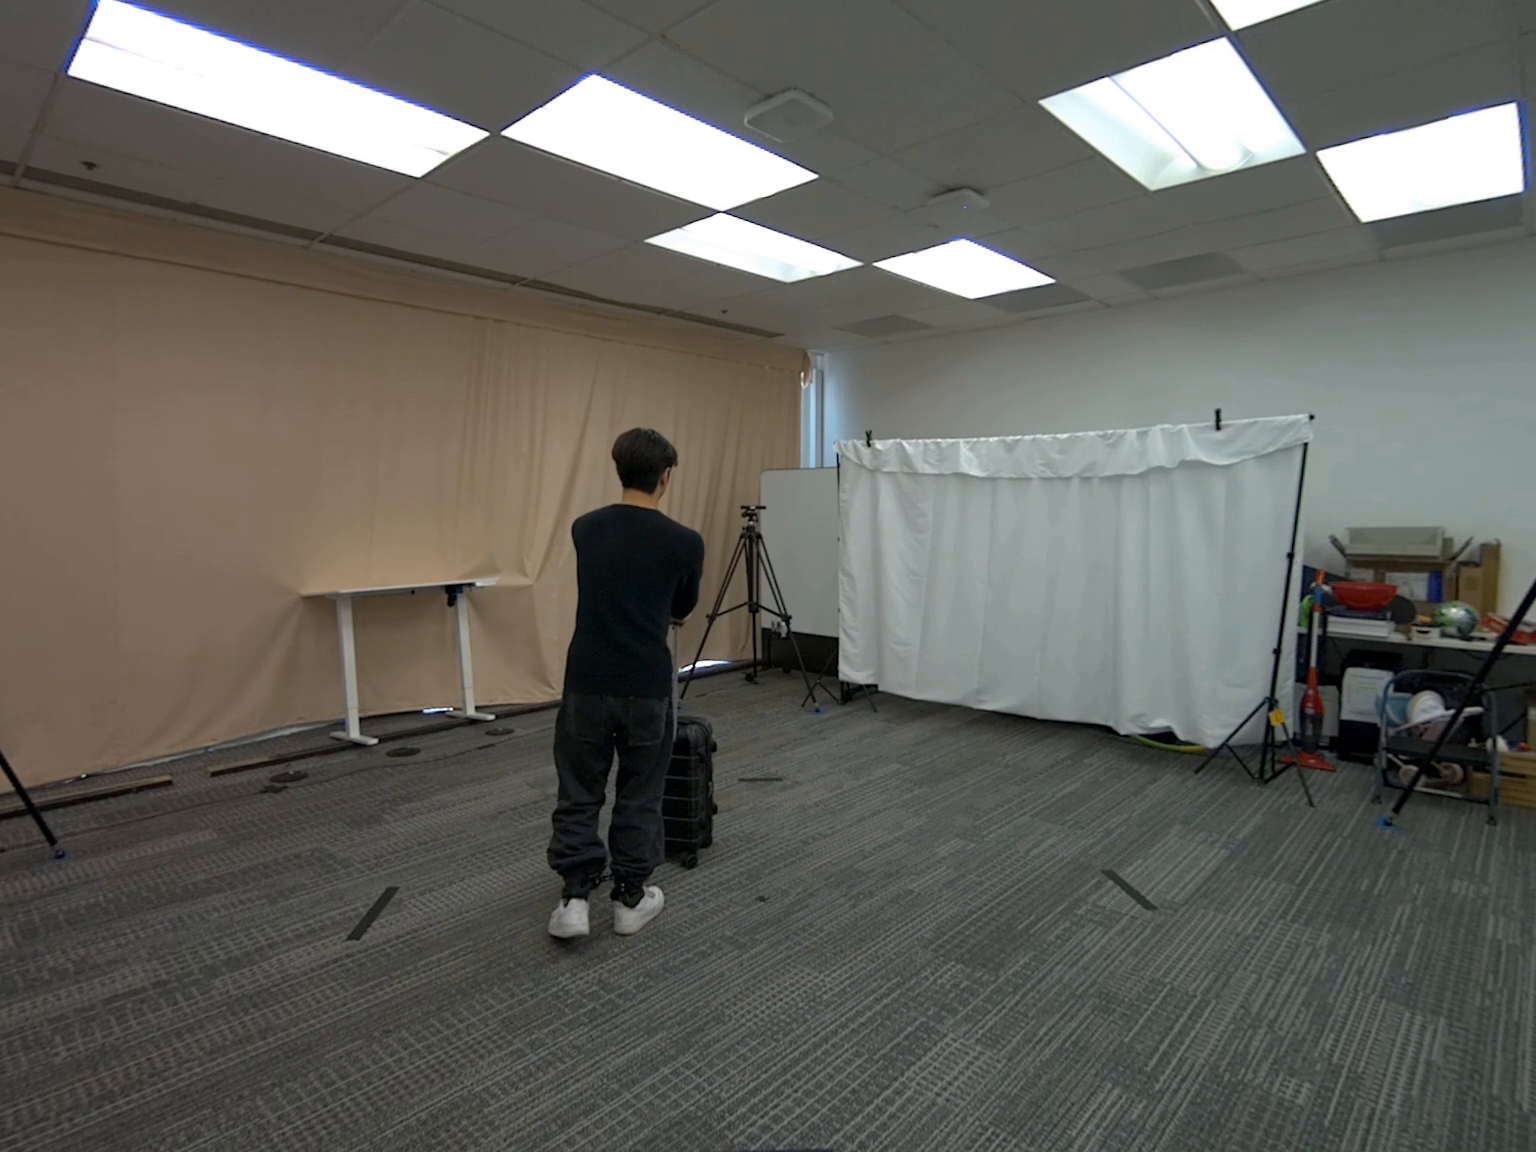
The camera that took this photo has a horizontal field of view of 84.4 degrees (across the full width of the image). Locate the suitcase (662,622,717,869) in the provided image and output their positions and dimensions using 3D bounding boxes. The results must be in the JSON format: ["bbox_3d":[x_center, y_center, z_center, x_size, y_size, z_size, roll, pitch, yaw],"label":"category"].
[{"bbox_3d":[-0.406,0.638,3.390,0.390,0.978,0.253,1,0,15],"label":"suitcase"}]
